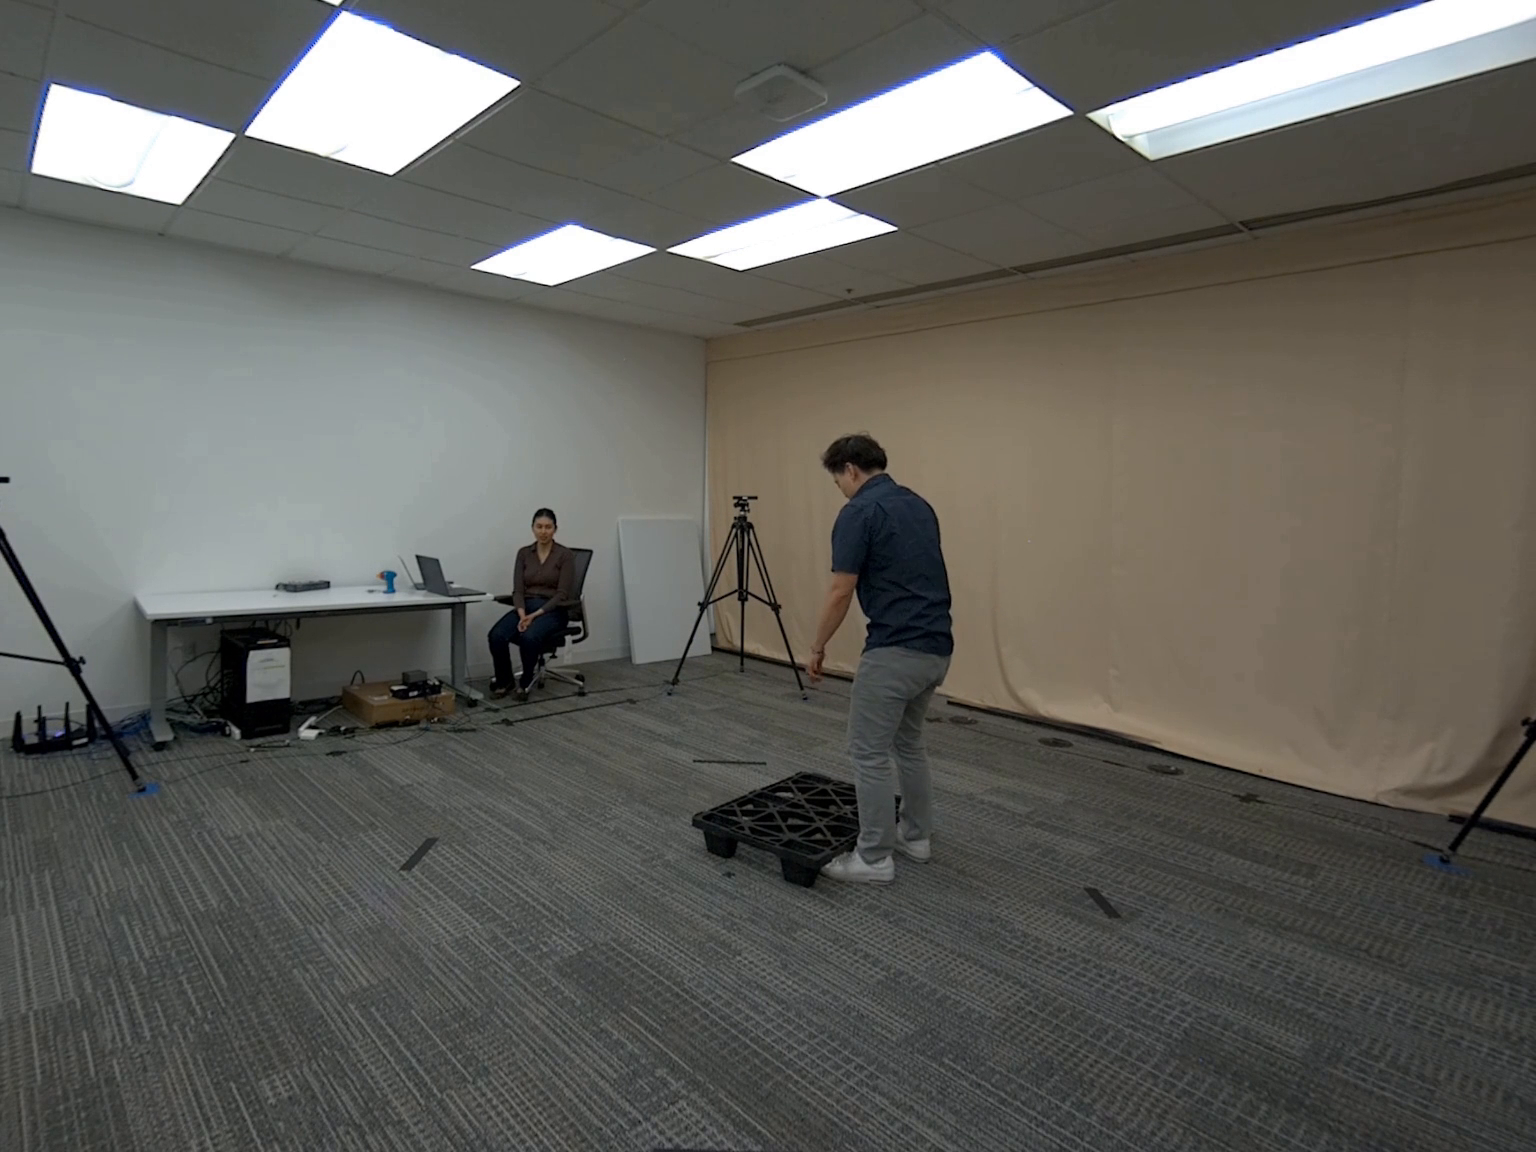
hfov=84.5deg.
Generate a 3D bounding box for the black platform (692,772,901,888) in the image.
[{"bbox_3d":[0.166,1.014,3.432,0.620,0.143,0.788,6,7,37],"label":"black platform"}]
